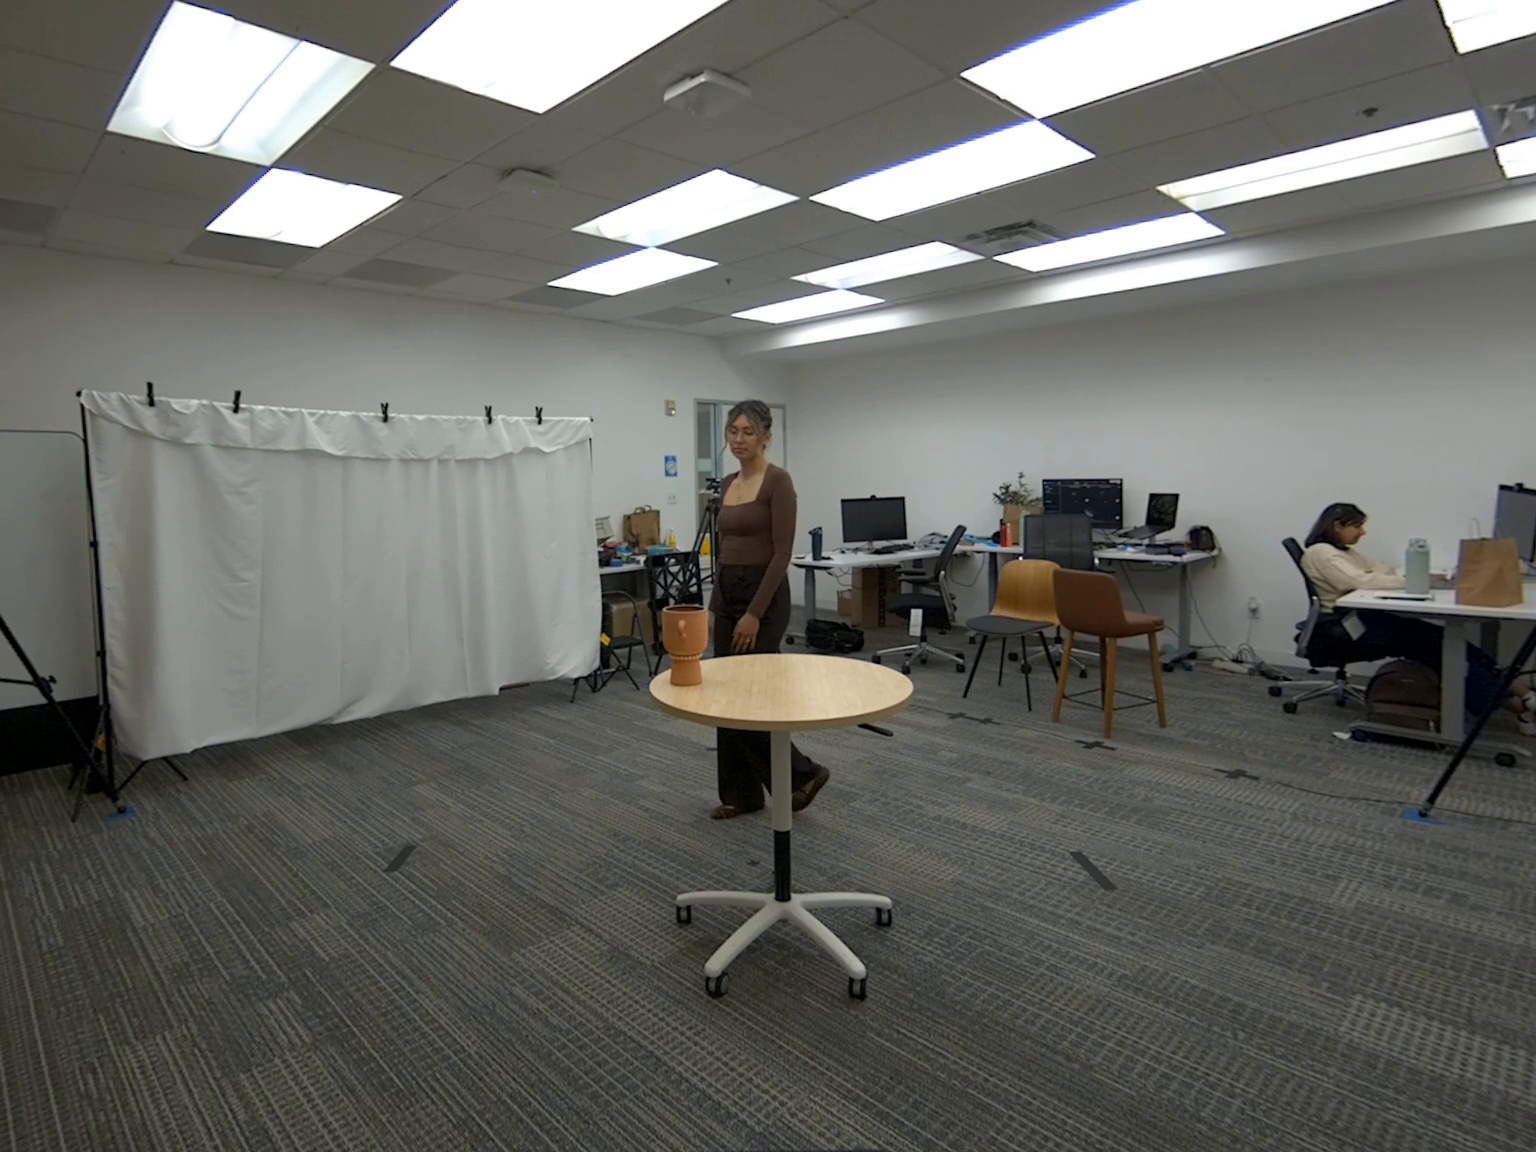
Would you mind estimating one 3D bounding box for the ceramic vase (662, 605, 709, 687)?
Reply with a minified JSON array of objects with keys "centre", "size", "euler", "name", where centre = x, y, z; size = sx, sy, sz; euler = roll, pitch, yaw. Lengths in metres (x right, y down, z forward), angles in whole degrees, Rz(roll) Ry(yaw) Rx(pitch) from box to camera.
[{"centre":[-0.238,0.204,2.519],"size":[0.139,0.219,0.154],"euler":[3,6,42],"name":"ceramic vase"}]
